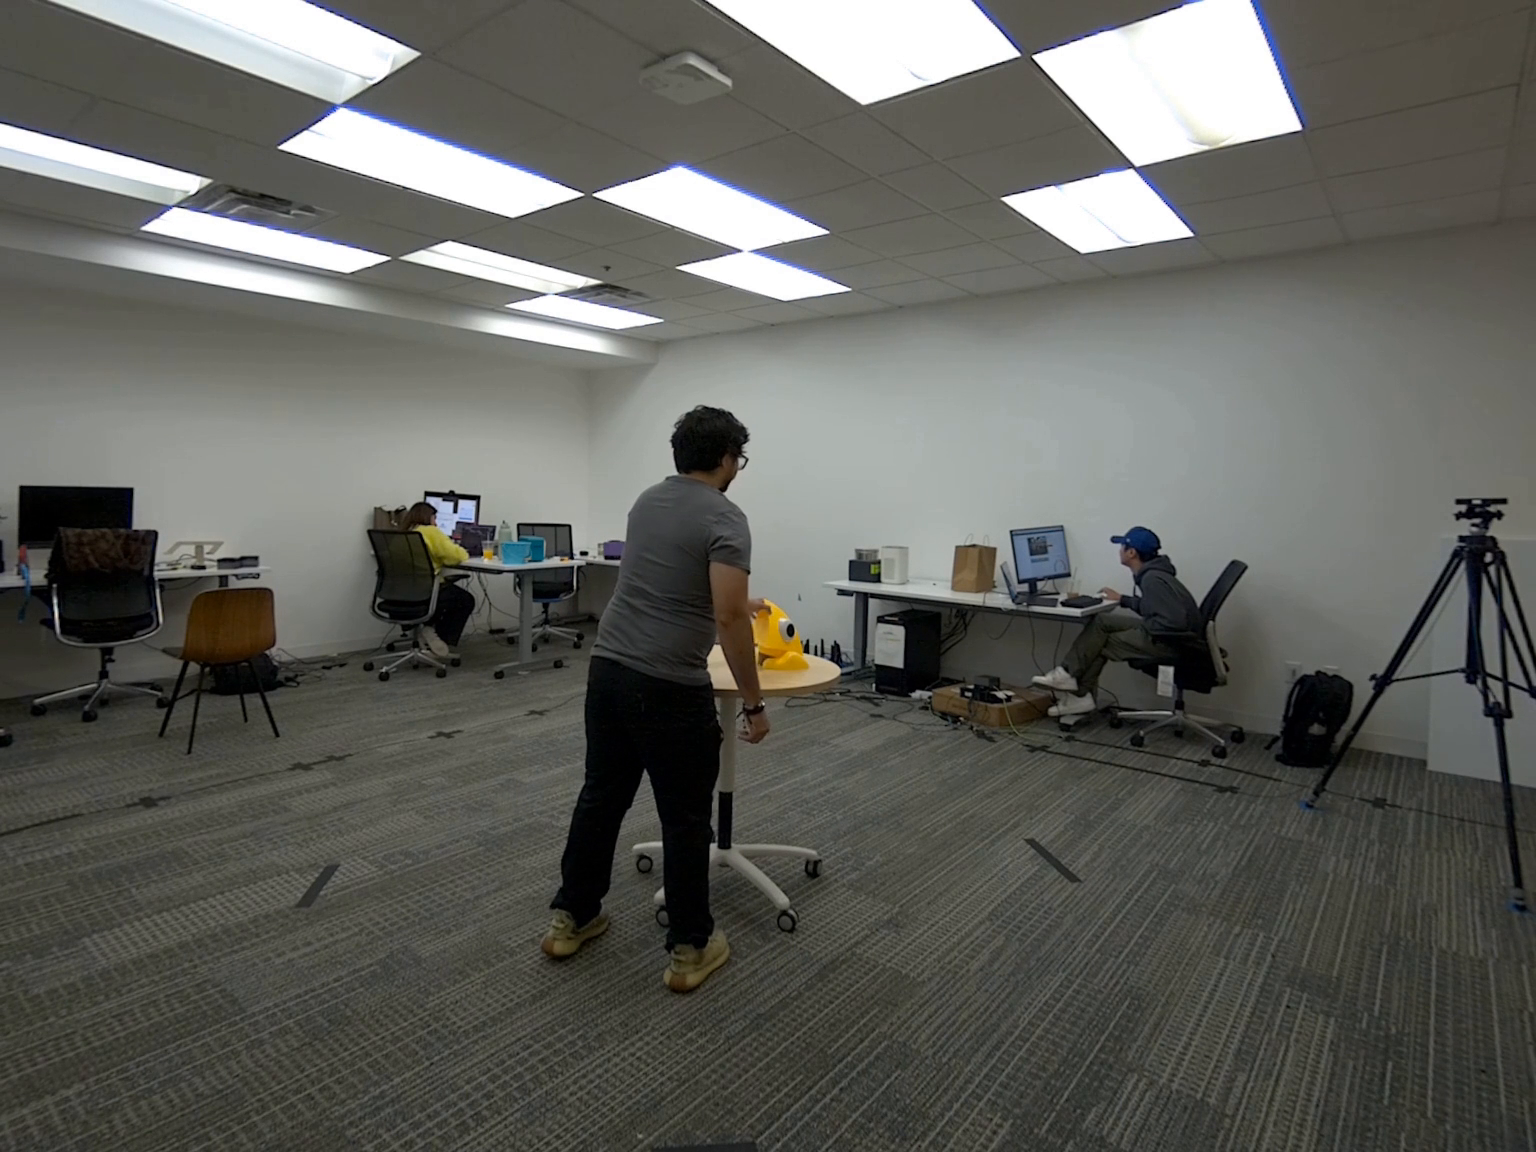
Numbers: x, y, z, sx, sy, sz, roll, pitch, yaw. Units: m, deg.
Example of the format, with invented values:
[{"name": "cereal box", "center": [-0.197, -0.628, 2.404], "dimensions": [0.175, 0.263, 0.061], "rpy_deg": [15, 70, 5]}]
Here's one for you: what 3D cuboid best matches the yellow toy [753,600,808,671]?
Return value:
[{"name": "yellow toy", "center": [0.028, 0.191, 2.973], "dimensions": [0.189, 0.230, 0.209], "rpy_deg": [0, 3, -21]}]
